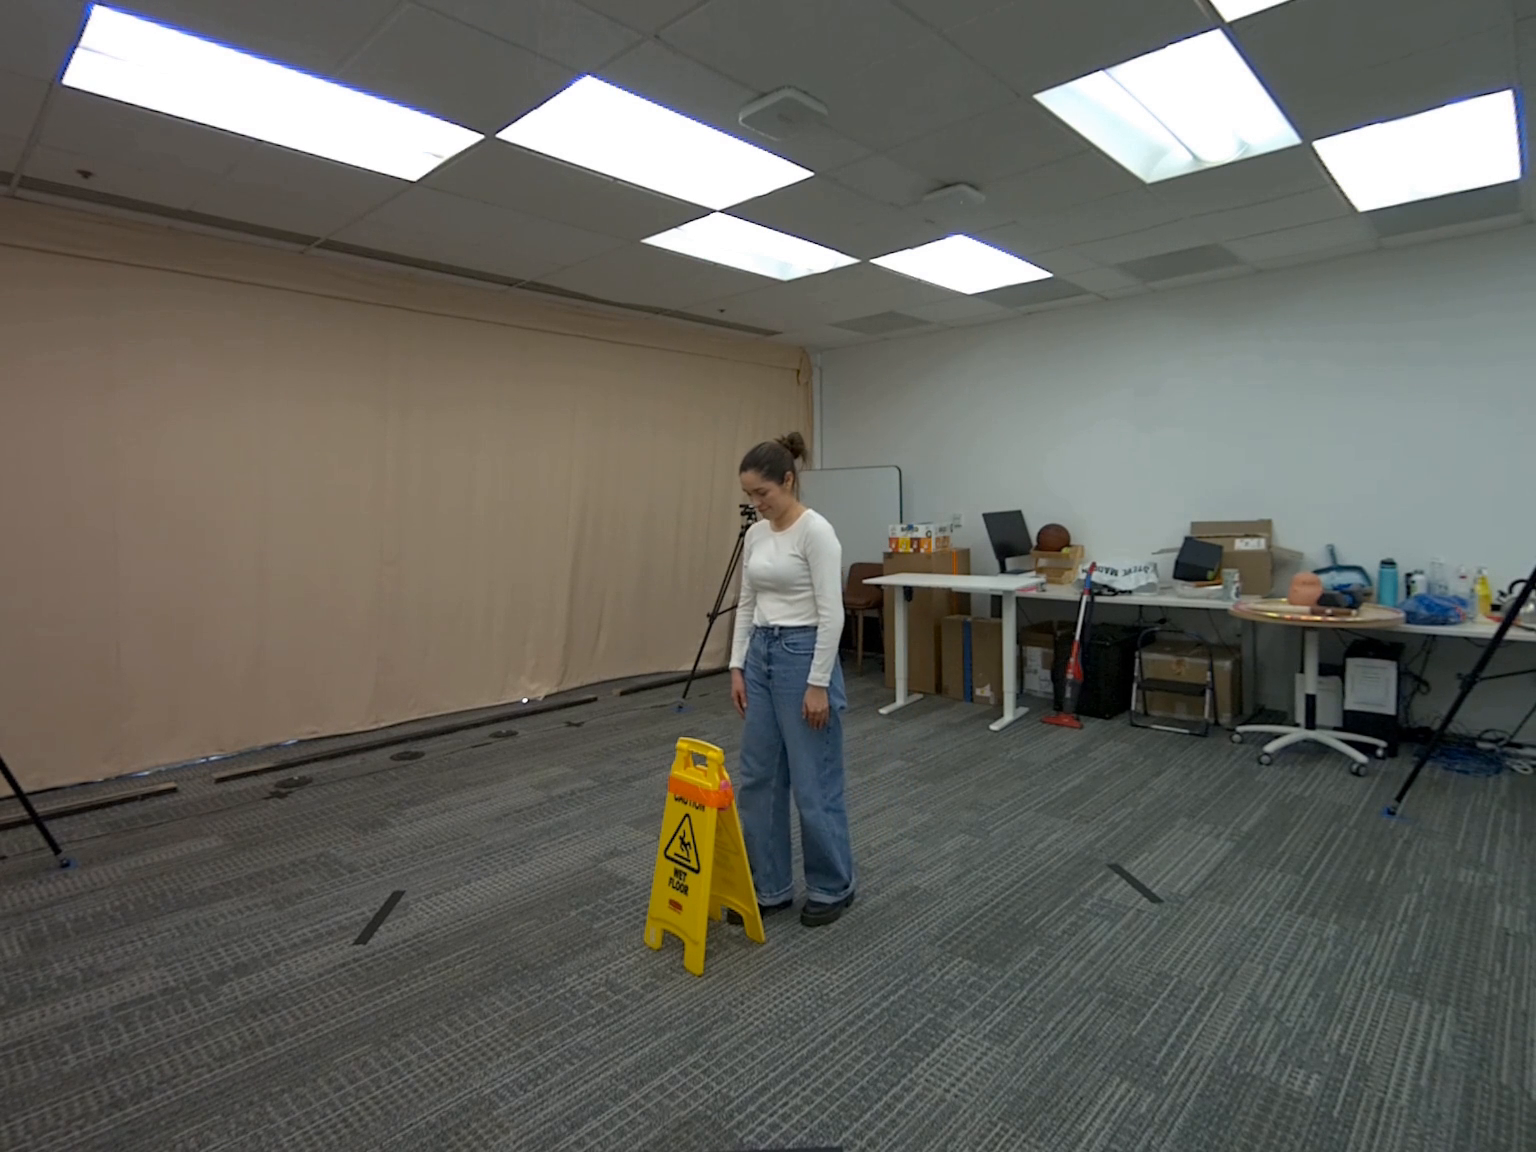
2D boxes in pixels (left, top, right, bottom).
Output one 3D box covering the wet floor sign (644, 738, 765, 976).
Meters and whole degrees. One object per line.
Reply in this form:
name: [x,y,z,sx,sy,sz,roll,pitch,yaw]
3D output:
wet floor sign: [-0.201,0.845,2.667,0.281,0.645,0.291,-3,4,-44]
